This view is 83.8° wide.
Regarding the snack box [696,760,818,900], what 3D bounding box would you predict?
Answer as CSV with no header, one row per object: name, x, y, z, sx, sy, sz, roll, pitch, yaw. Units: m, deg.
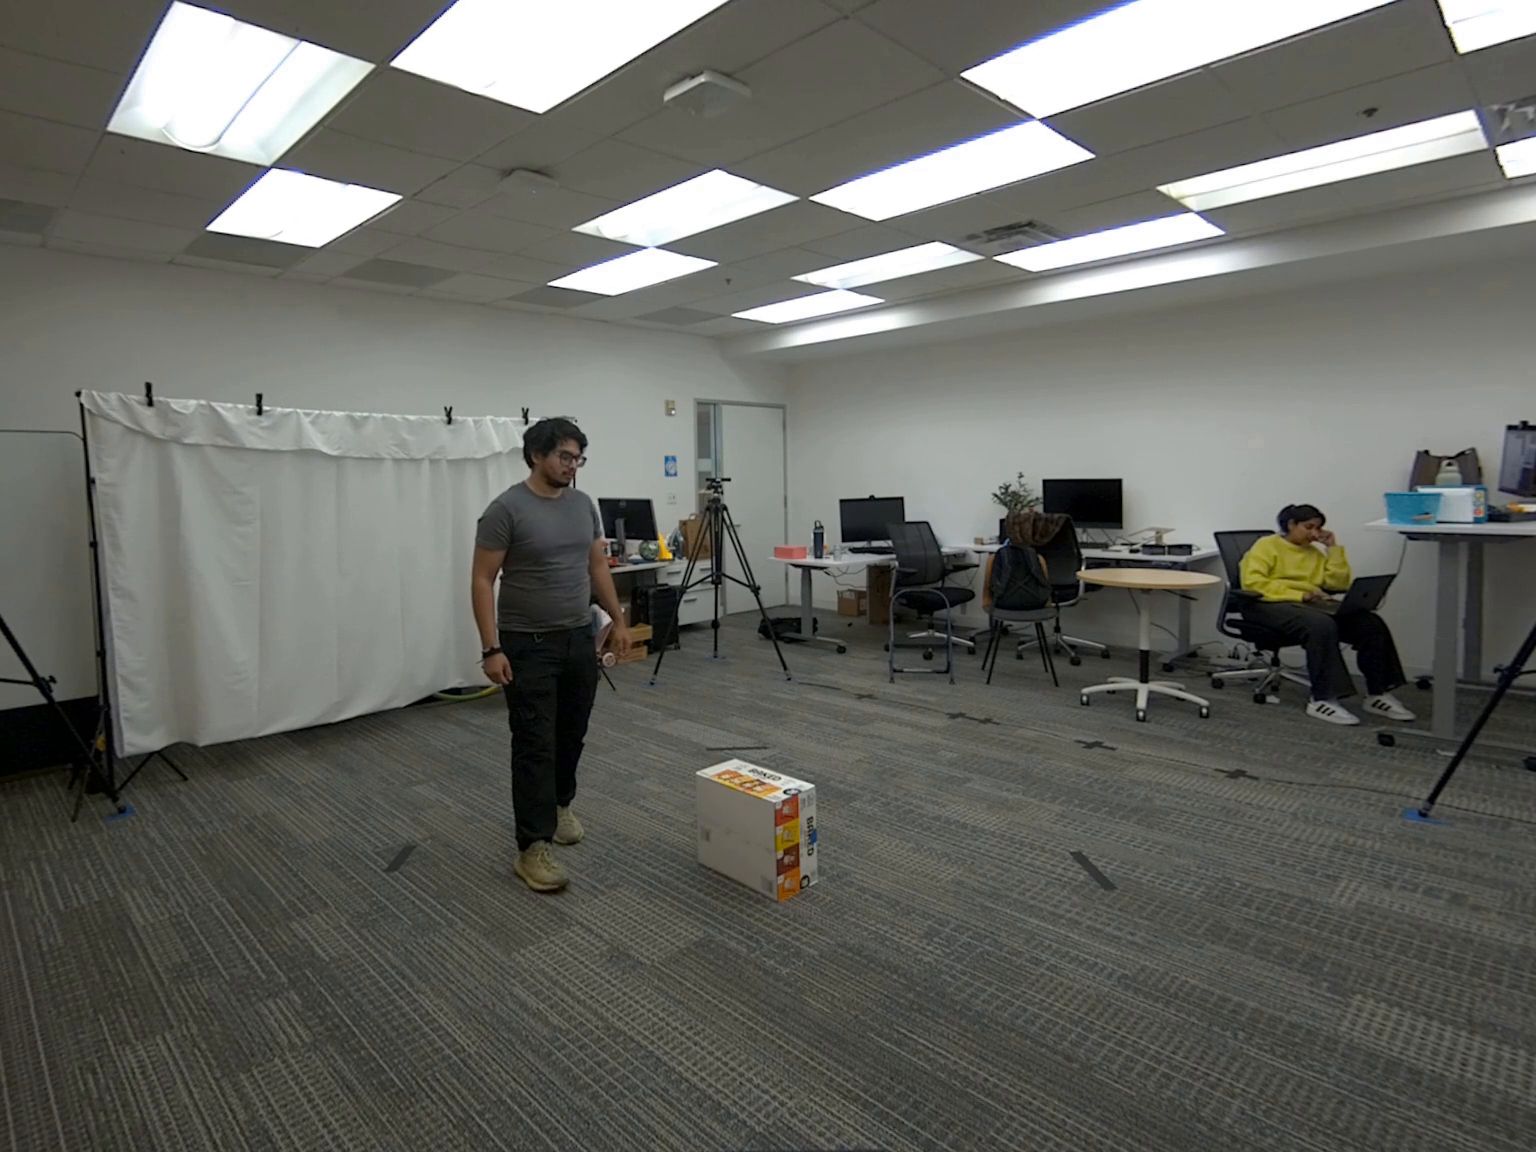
snack box,-0.042,0.882,3.012,0.200,0.339,0.418,-5,7,-44
